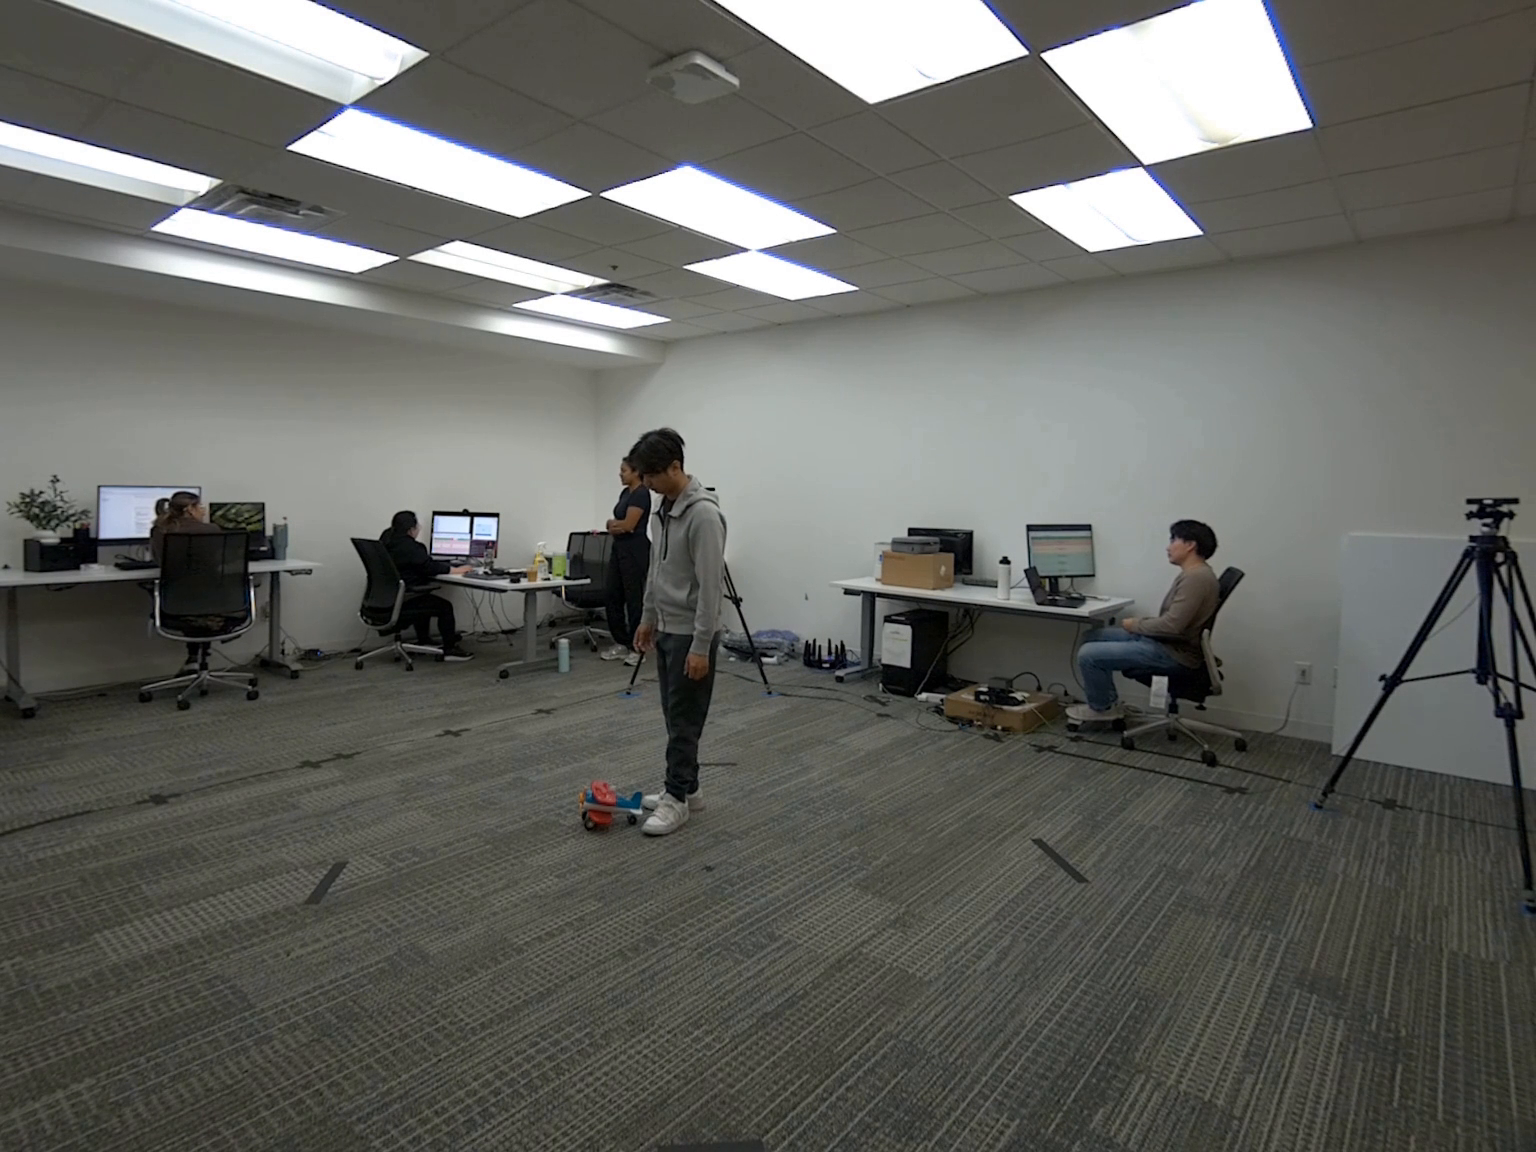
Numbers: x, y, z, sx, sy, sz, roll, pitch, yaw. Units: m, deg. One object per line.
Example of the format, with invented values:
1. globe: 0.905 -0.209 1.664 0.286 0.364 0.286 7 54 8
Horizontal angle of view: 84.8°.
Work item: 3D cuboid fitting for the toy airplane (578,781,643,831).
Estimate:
1. toy airplane: -0.677 0.950 3.523 0.252 0.156 0.259 -5 6 -42
